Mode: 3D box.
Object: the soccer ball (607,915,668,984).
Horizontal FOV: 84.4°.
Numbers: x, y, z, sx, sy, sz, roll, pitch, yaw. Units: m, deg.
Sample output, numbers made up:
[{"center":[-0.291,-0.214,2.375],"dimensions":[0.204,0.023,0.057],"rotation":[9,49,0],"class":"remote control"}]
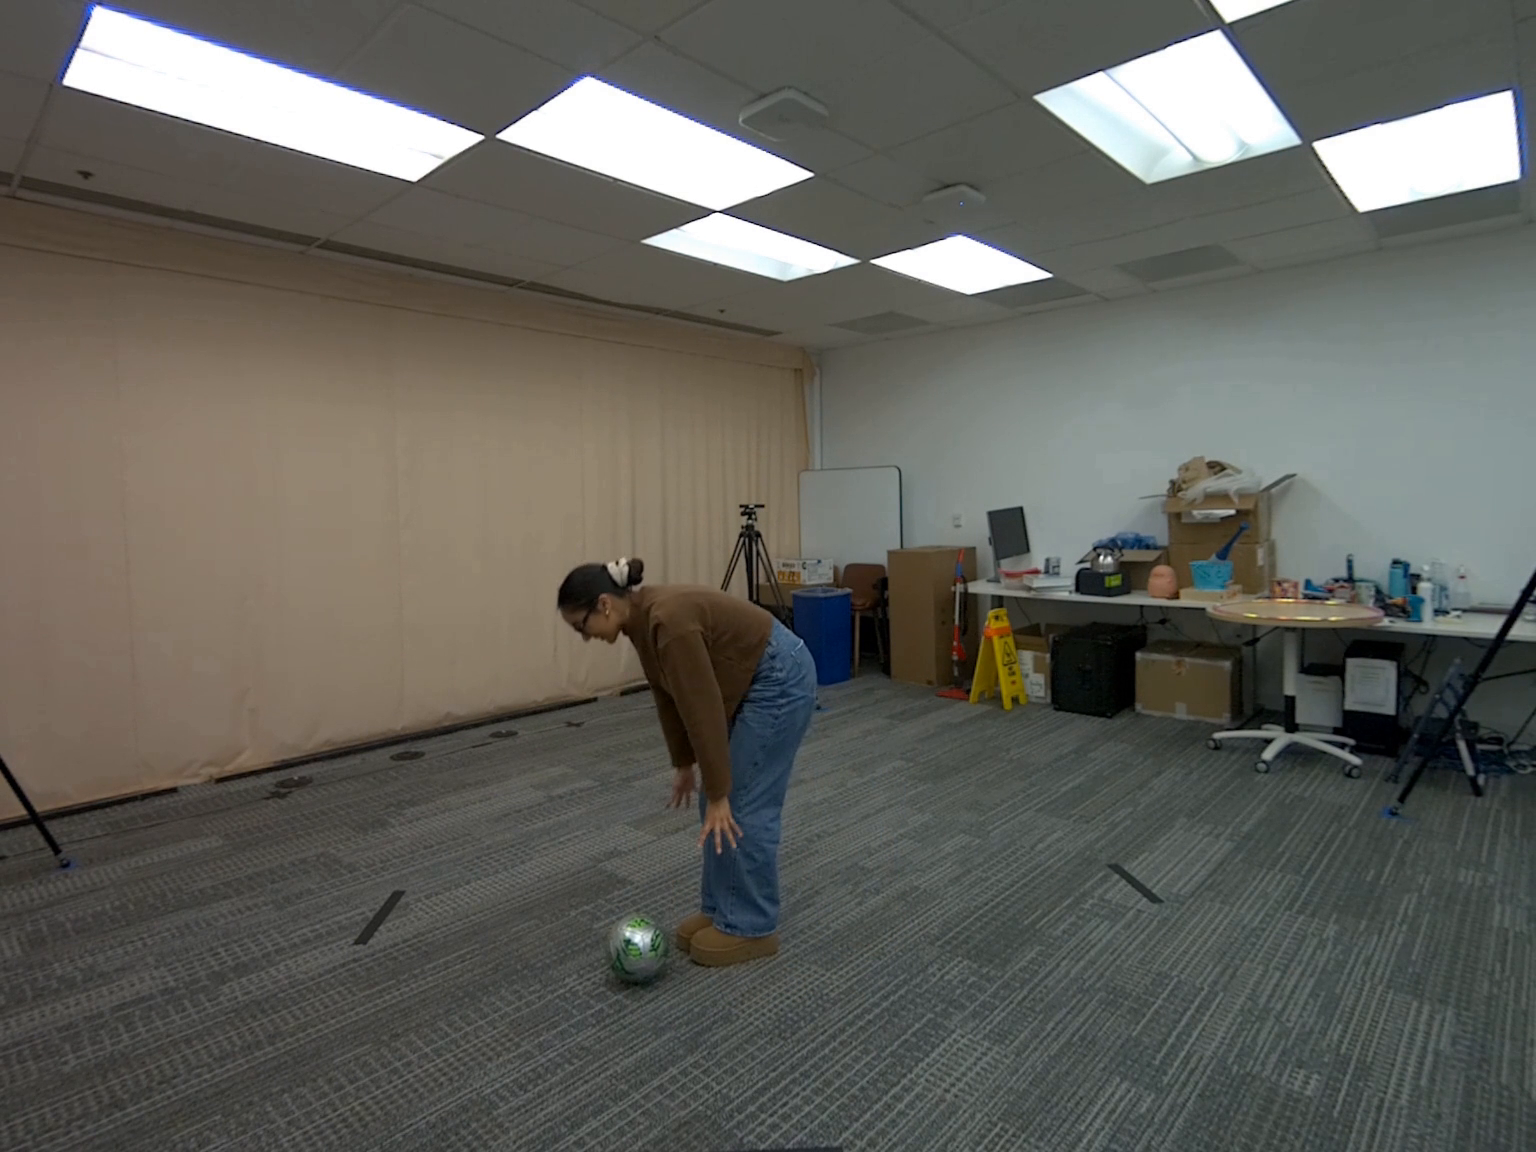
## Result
[{"center":[-0.383,1.093,2.486],"dimensions":[0.187,0.187,0.188],"rotation":[-1,4,-2],"class":"soccer ball"}]
